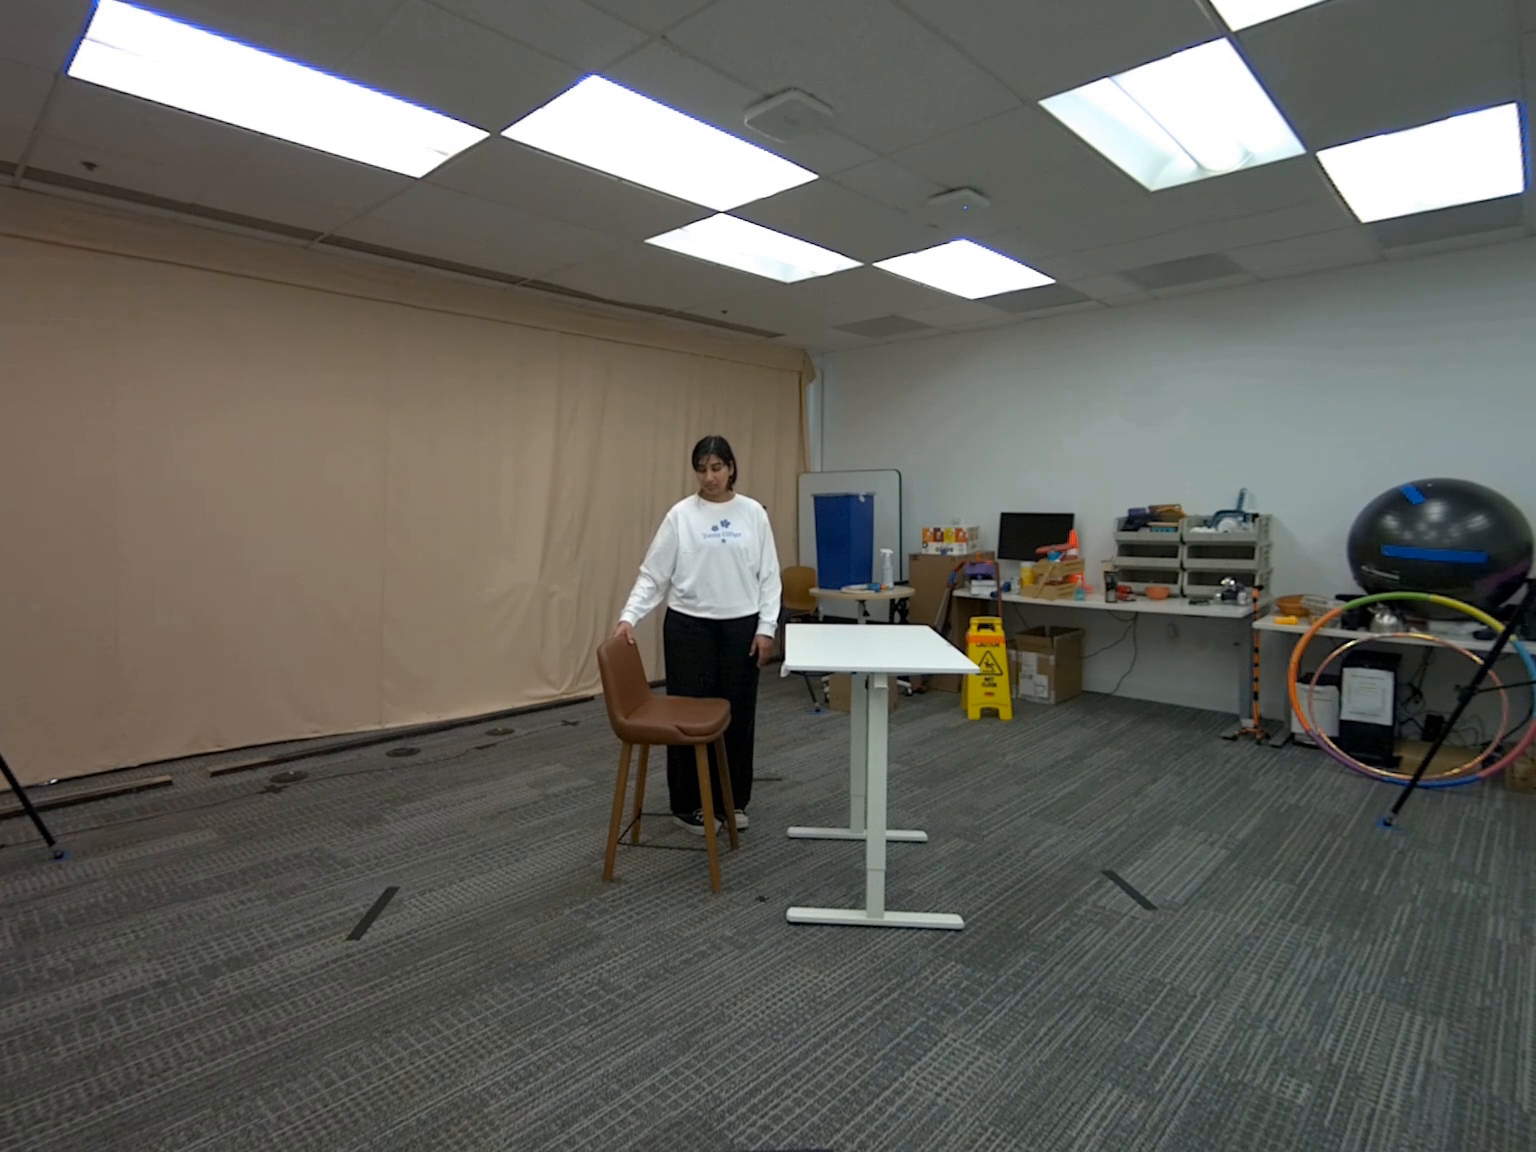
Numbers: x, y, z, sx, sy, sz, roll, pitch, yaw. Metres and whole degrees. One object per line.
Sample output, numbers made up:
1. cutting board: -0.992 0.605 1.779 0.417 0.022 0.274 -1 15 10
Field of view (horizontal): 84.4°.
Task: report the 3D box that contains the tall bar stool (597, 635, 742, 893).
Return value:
1. tall bar stool: -0.377 0.694 3.242 0.473 0.888 0.452 -2 3 11
